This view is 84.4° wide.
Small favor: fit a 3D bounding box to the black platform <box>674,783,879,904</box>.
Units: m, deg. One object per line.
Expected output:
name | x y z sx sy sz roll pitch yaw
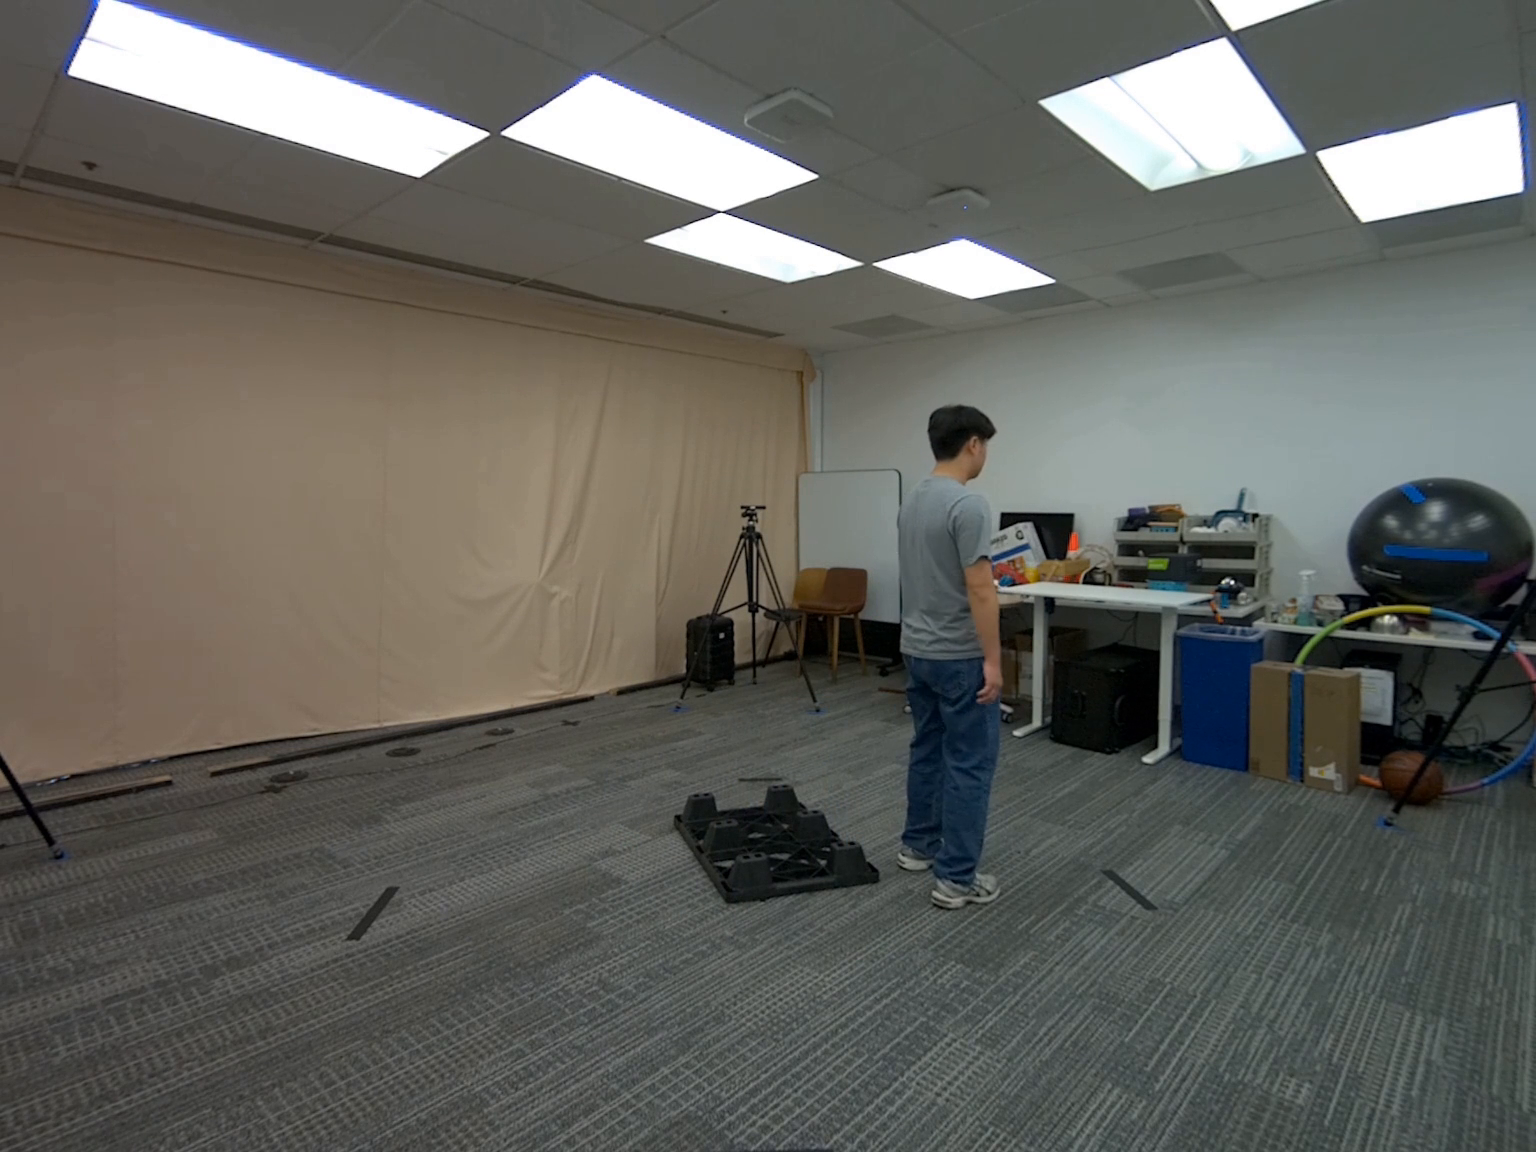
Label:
black platform | -0.002 1.039 3.397 0.594 0.143 0.823 -1 4 -20
